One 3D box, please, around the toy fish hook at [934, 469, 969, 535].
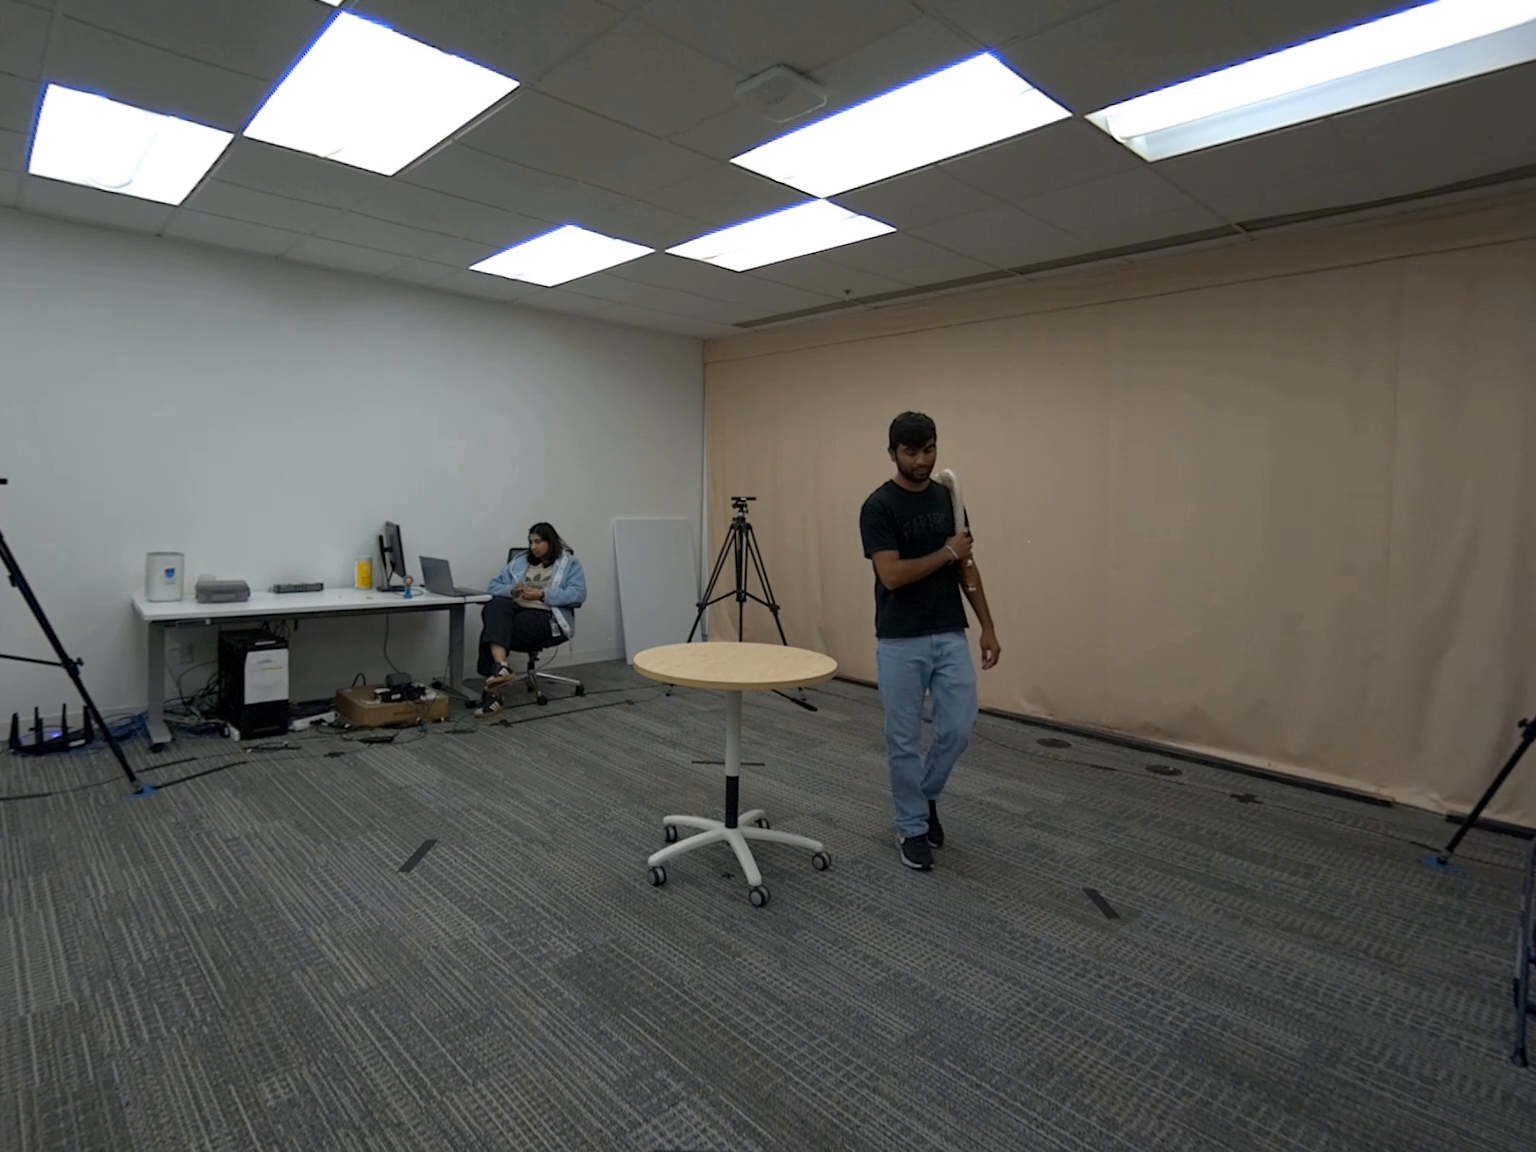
[{"bbox_3d":[0.734,-0.175,3.361,0.048,0.511,0.223,-6,-10,-6],"label":"toy fish hook"}]
